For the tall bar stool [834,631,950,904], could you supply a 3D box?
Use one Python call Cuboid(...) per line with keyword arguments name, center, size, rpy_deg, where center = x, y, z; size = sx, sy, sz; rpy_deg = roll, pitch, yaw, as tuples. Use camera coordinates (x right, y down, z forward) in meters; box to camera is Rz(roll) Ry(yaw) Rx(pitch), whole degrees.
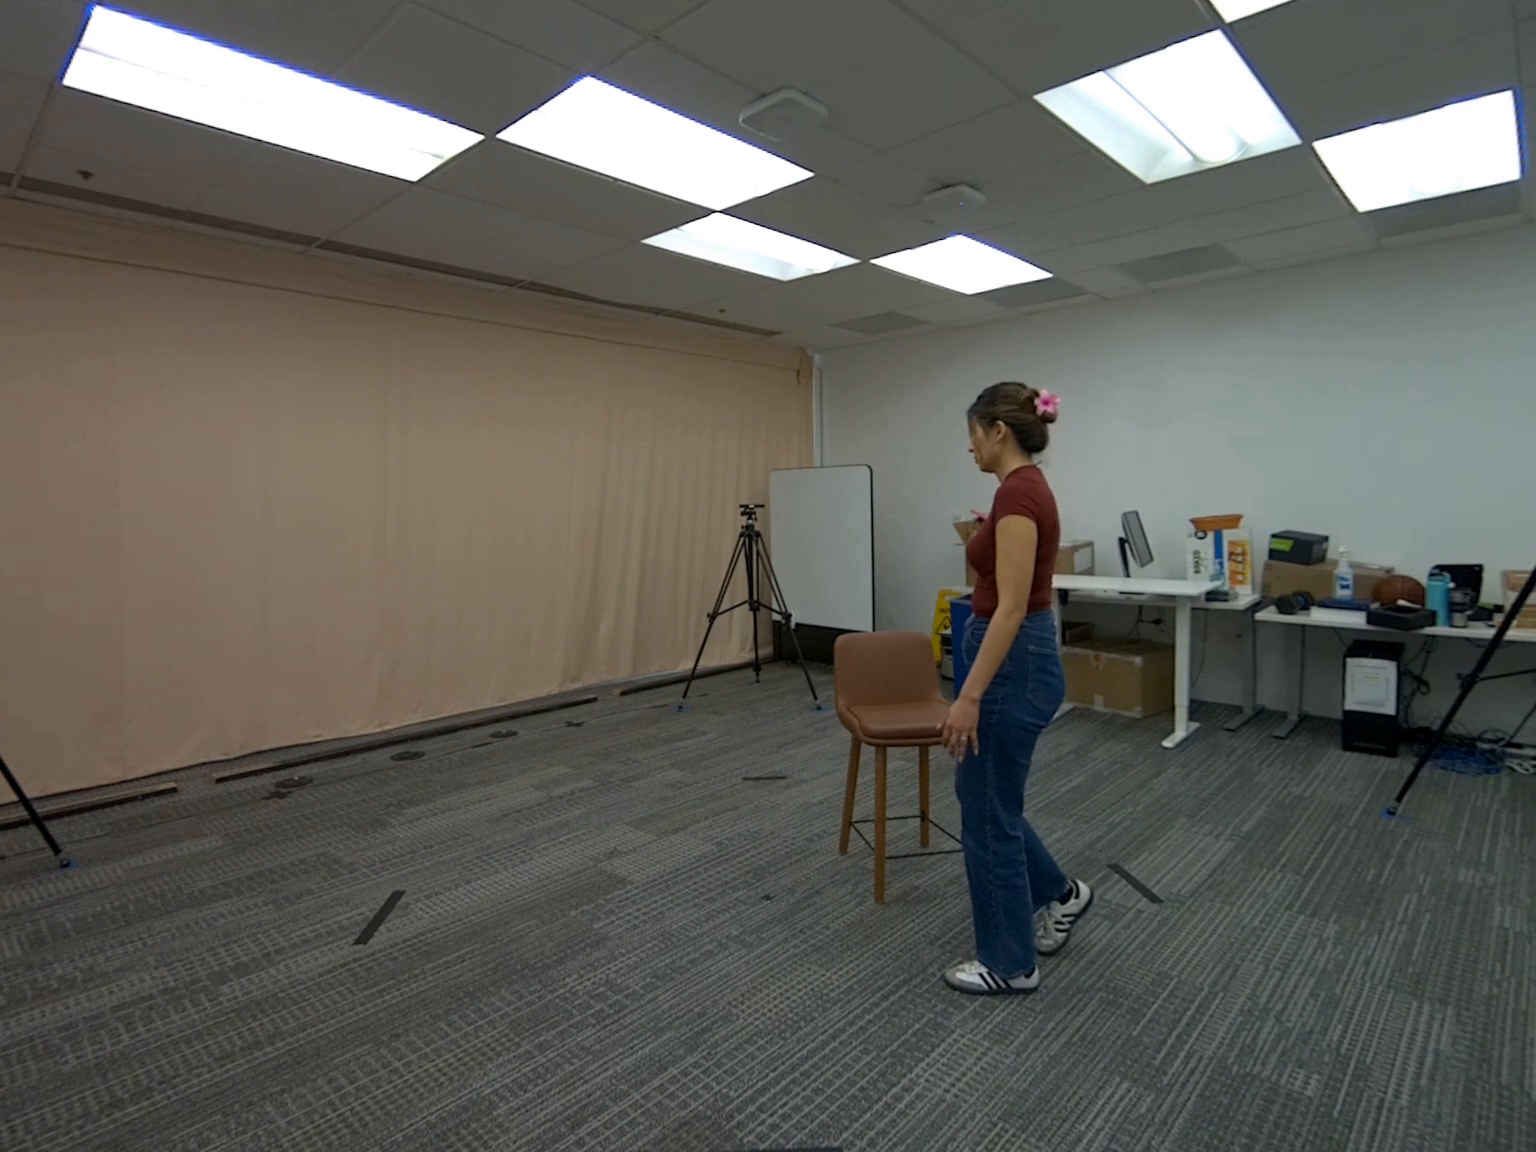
Cuboid(name="tall bar stool", center=(0.520, 0.684, 3.157), size=(0.450, 0.889, 0.474), rpy_deg=(-1, 2, -13))
